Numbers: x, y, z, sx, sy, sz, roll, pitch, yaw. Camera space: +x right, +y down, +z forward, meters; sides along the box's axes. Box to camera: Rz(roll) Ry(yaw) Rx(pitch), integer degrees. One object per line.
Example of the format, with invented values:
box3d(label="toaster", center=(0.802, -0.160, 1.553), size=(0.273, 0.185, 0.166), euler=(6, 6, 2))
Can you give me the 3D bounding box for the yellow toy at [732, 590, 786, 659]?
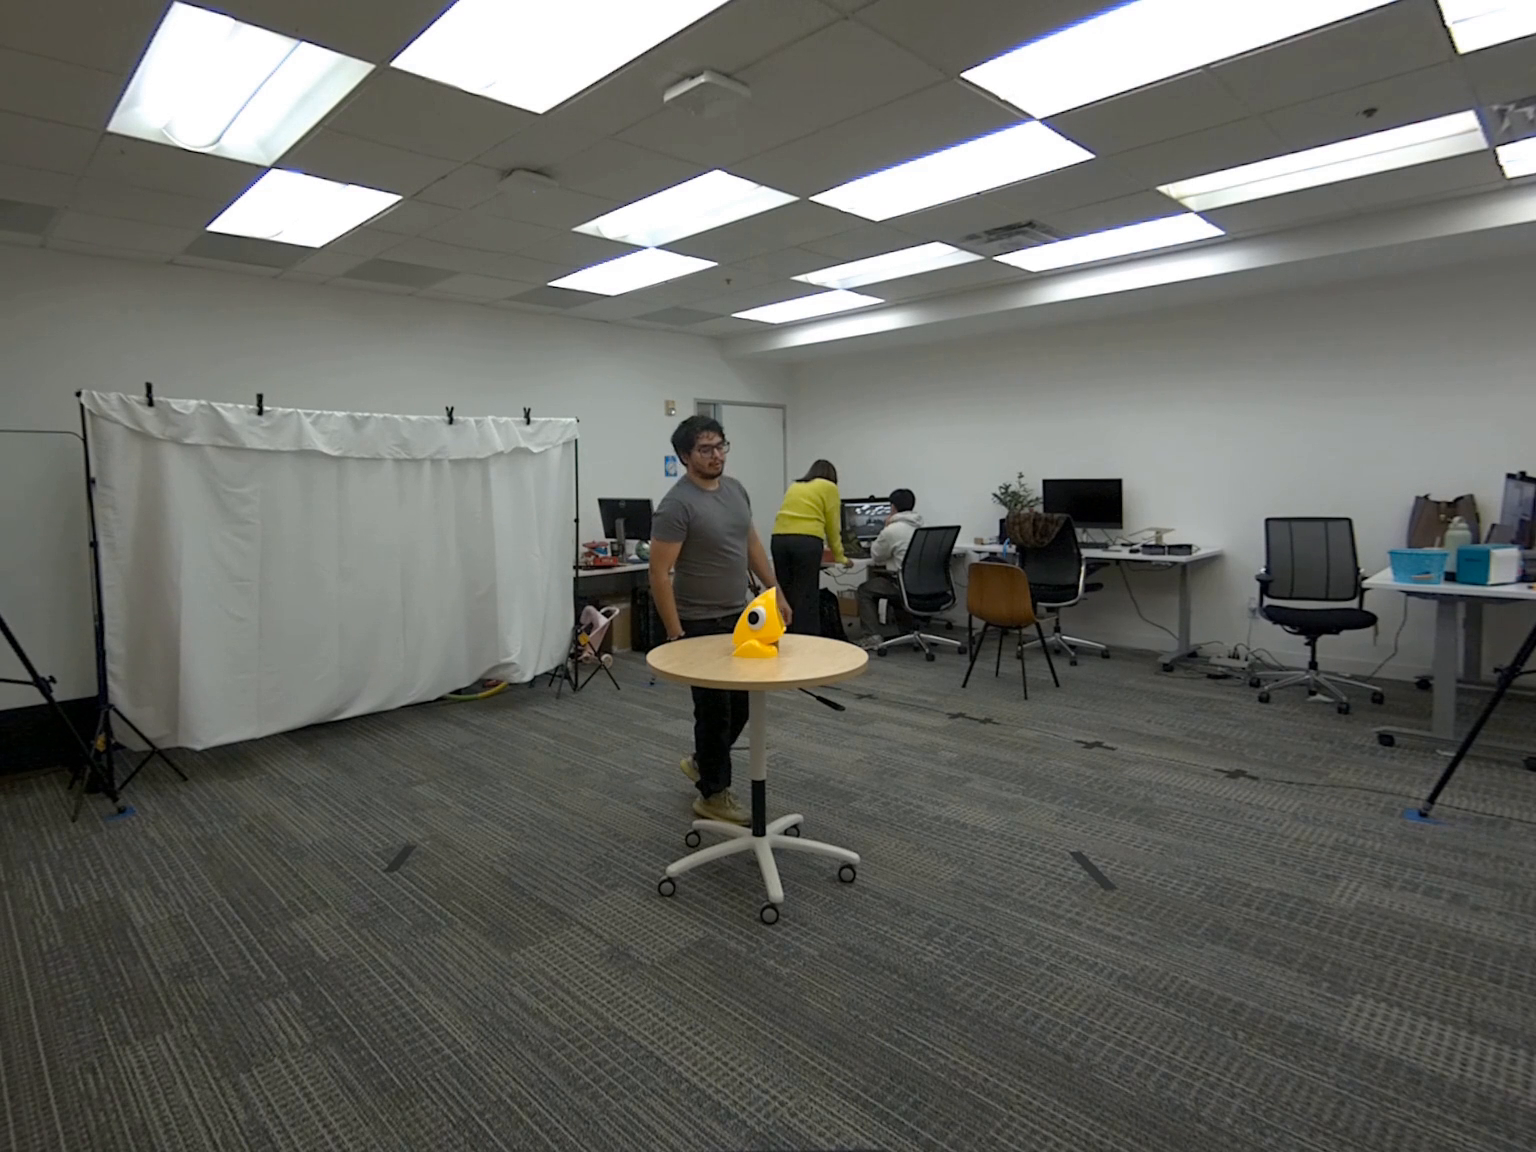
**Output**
box3d(label="yellow toy", center=(-0.031, 0.154, 3.005), size=(0.194, 0.230, 0.204), euler=(-1, 5, 5))
